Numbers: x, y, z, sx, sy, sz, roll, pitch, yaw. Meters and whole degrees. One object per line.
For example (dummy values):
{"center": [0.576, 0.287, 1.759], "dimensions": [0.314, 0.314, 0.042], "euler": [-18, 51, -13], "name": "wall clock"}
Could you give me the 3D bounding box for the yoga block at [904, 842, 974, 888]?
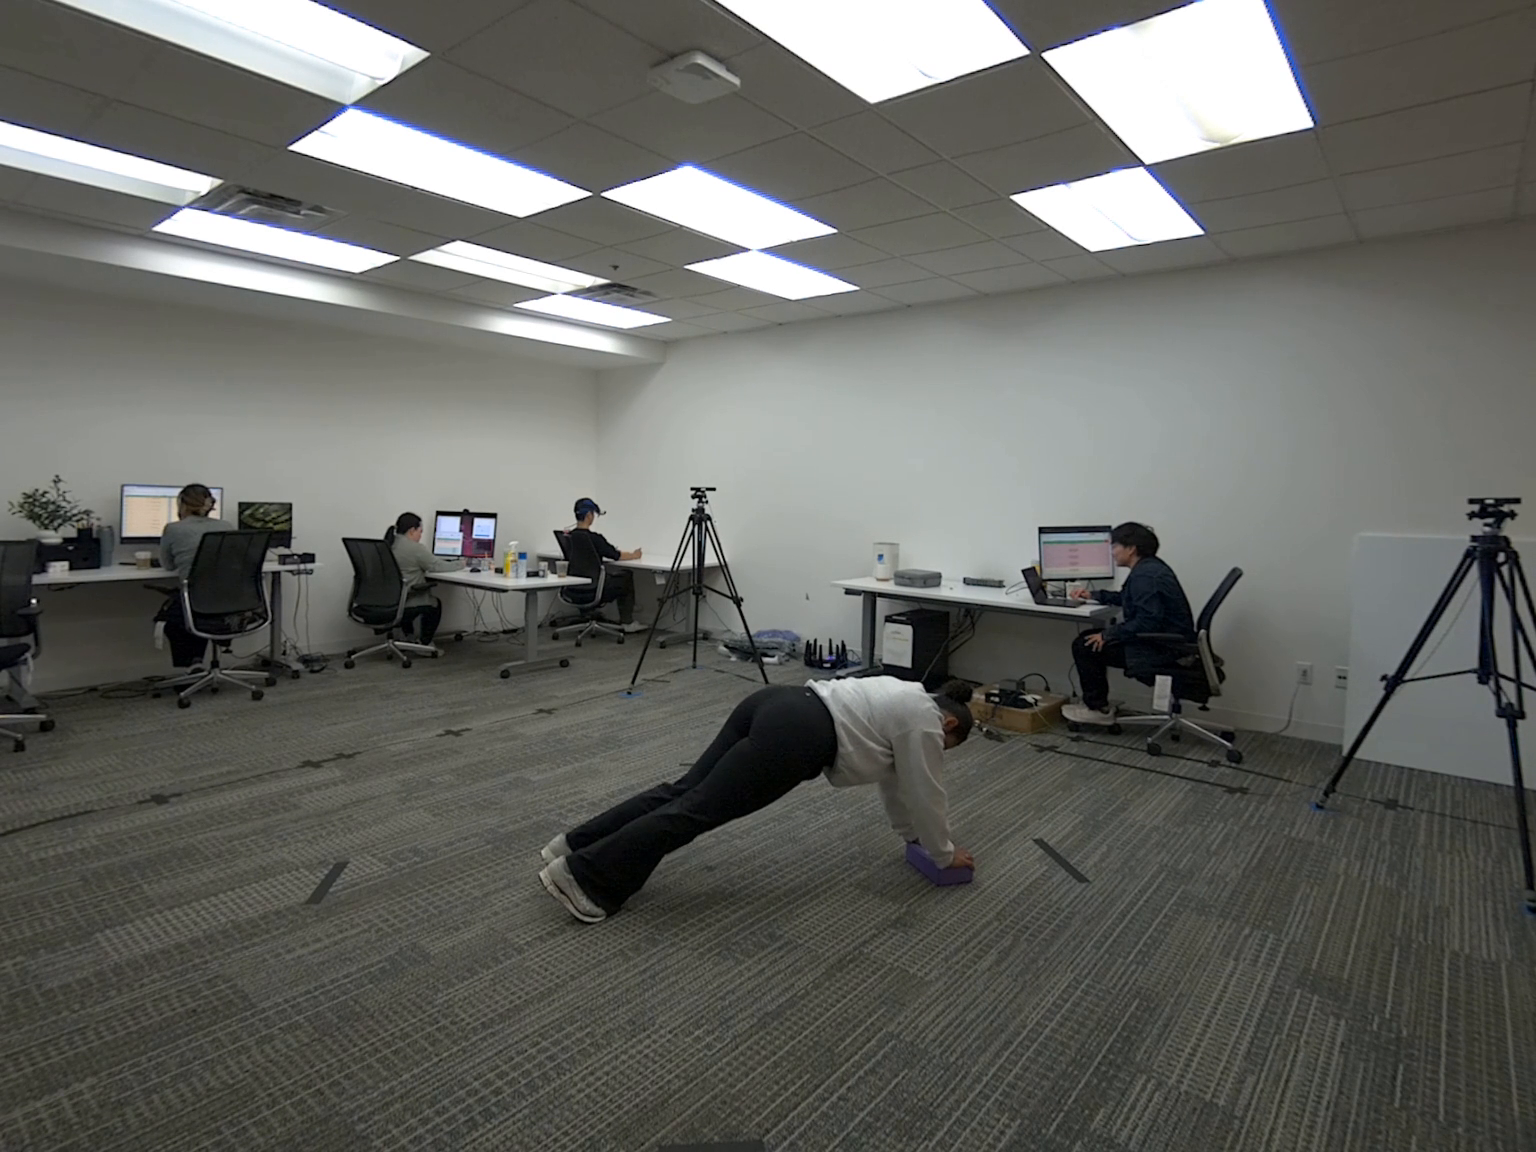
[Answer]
{"center": [0.623, 1.054, 3.136], "dimensions": [0.146, 0.076, 0.234], "euler": [-1, 5, -19], "name": "yoga block"}
